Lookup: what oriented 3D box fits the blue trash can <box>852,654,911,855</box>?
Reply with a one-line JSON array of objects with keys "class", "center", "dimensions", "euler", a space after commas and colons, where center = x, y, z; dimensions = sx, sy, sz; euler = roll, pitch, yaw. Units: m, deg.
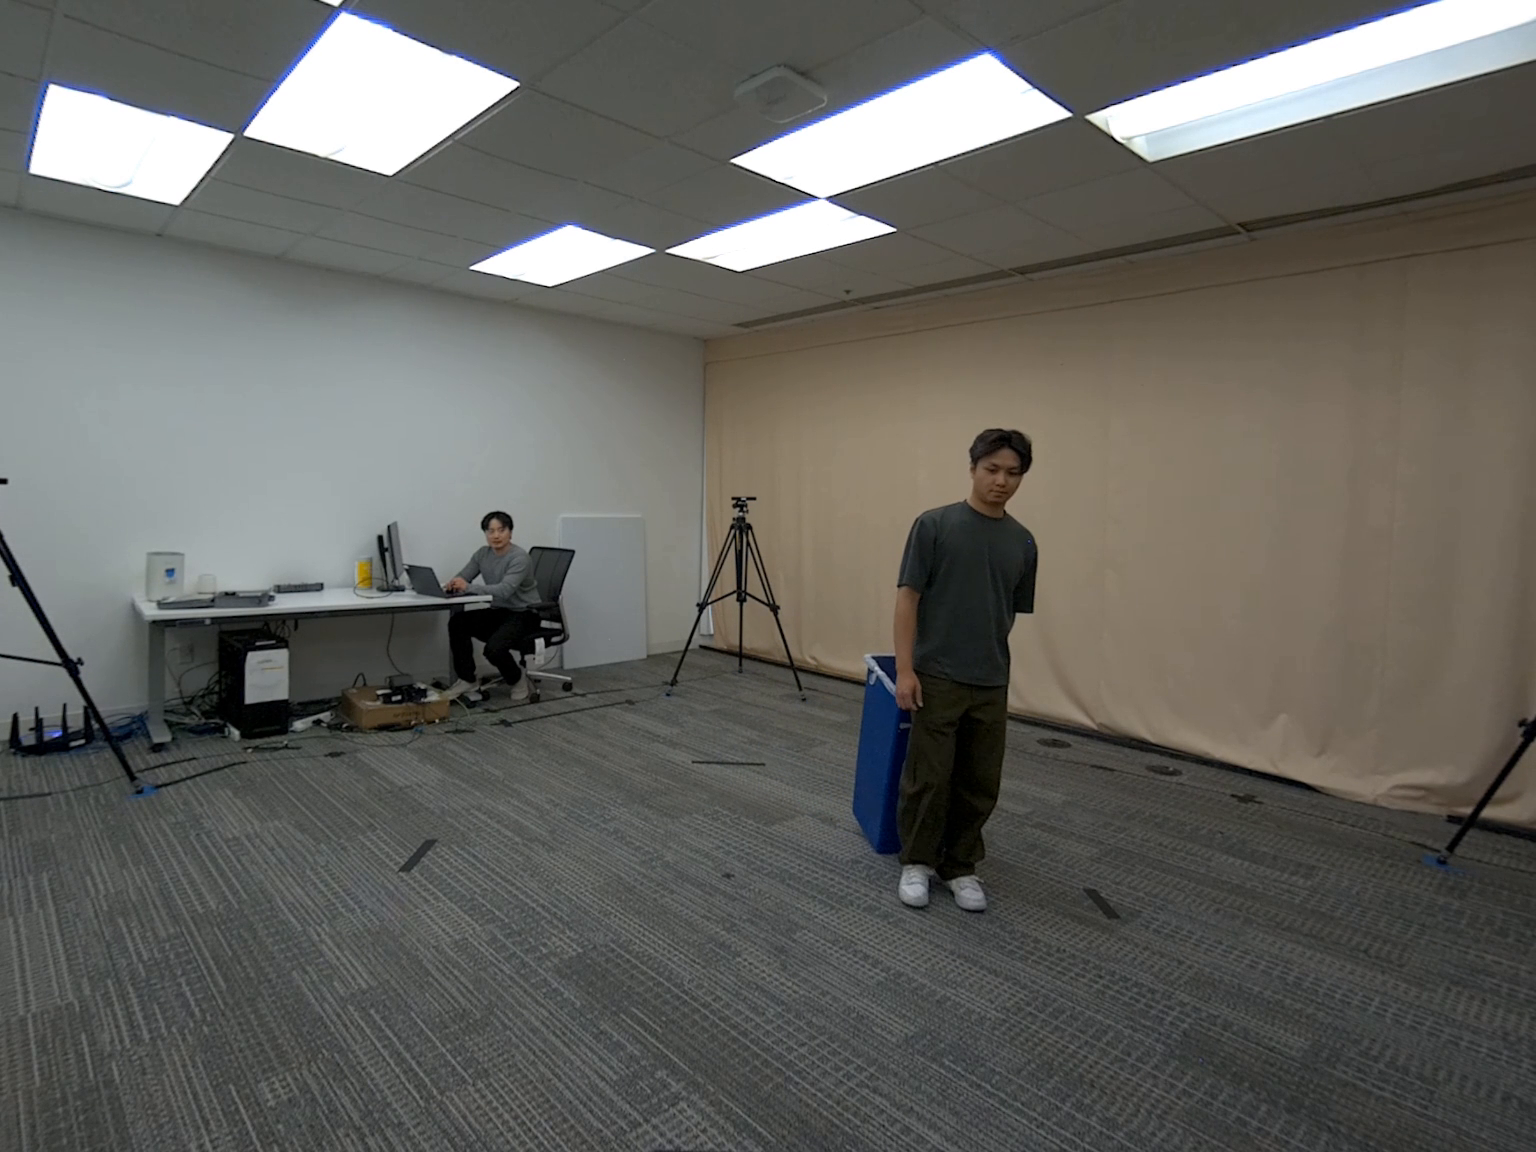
[{"class": "blue trash can", "center": [0.573, 0.718, 3.403], "dimensions": [0.370, 0.705, 0.386], "euler": [1, 18, -14]}]
